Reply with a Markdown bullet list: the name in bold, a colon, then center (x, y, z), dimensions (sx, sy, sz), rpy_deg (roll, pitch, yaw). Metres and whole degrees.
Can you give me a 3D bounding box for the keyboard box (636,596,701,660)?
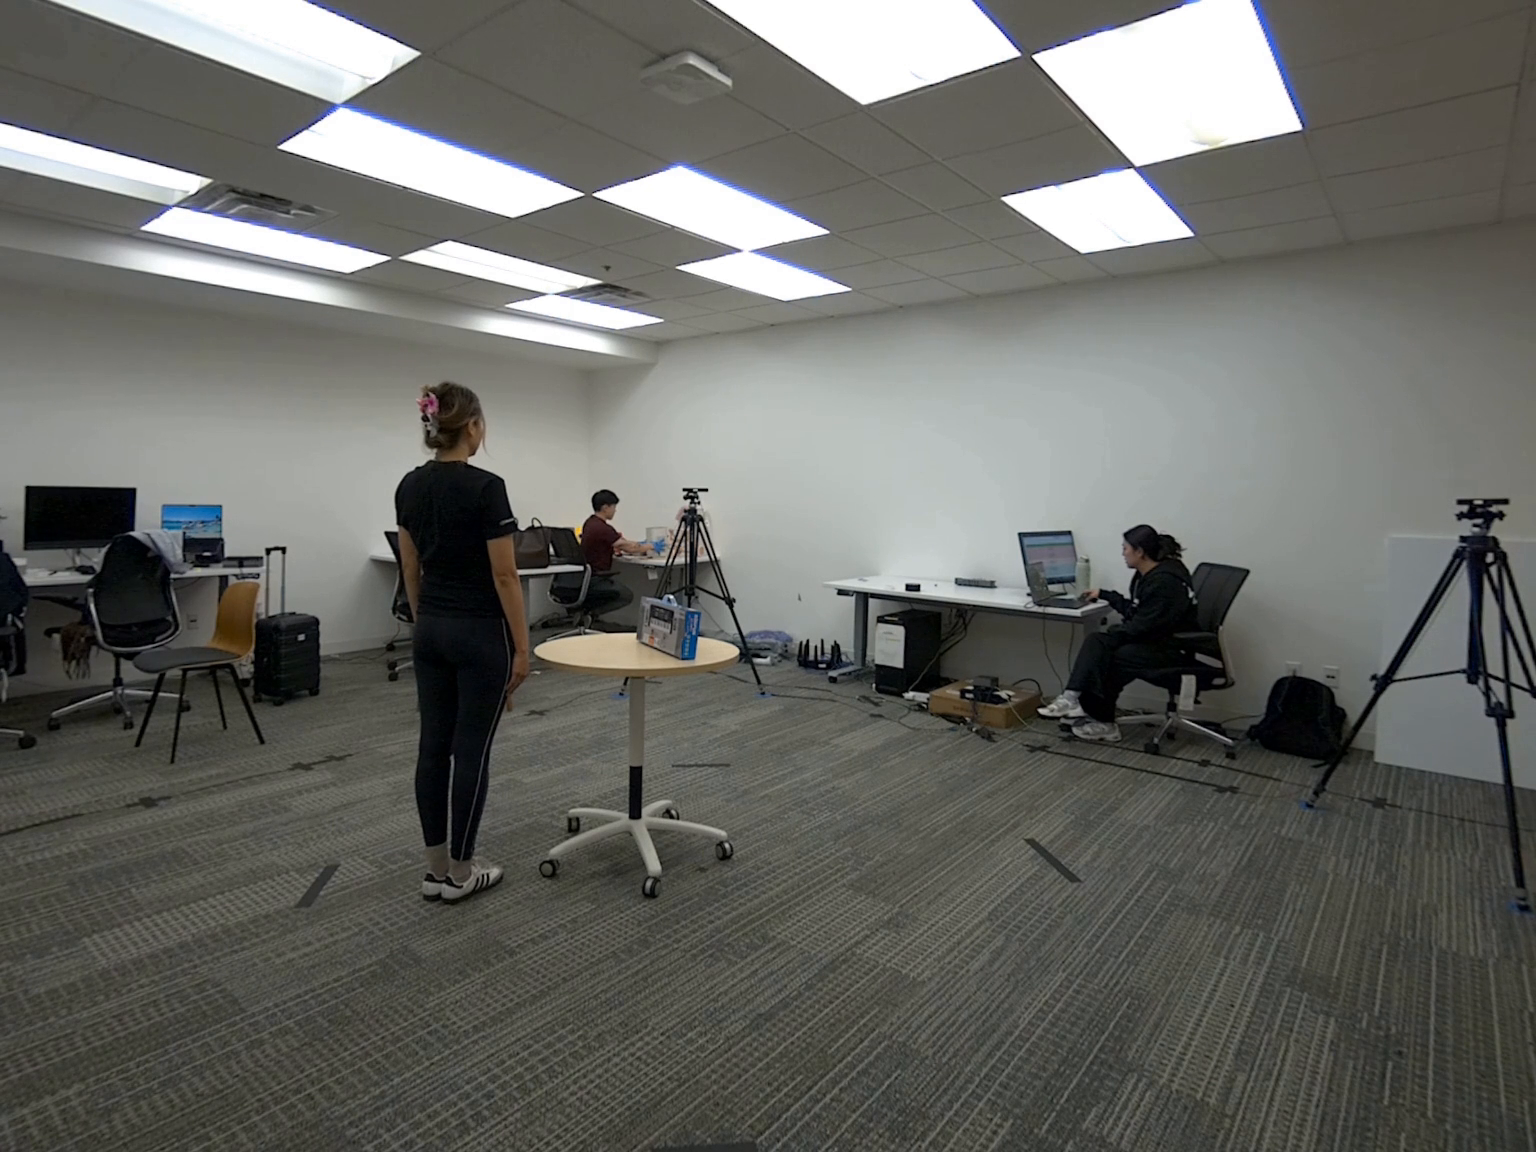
- **keyboard box**: center (-0.391, 0.190, 3.185), dimensions (0.057, 0.176, 0.450), rpy_deg (6, 1, -30)
